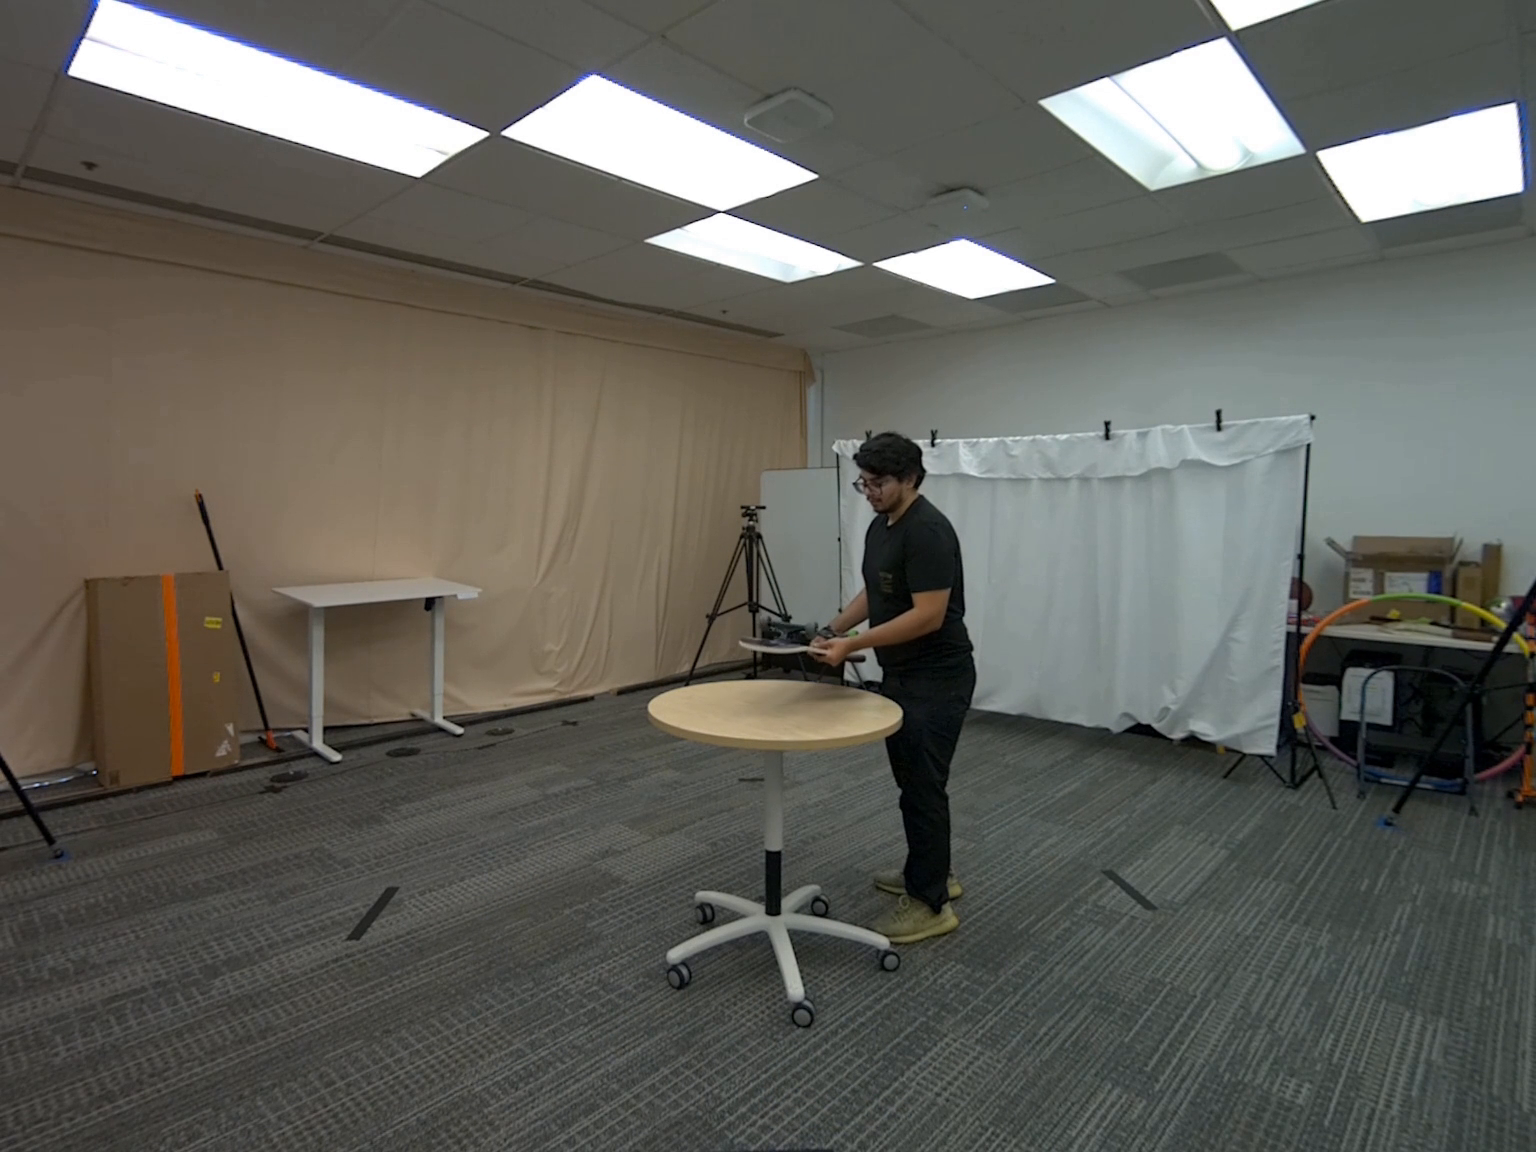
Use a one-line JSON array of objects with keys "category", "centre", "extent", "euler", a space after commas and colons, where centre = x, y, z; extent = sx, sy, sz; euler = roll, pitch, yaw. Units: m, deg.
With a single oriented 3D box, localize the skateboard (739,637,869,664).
[{"category": "skateboard", "centre": [0.138, 0.218, 2.669], "extent": [0.199, 0.110, 0.761], "euler": [9, -4, 29]}]
